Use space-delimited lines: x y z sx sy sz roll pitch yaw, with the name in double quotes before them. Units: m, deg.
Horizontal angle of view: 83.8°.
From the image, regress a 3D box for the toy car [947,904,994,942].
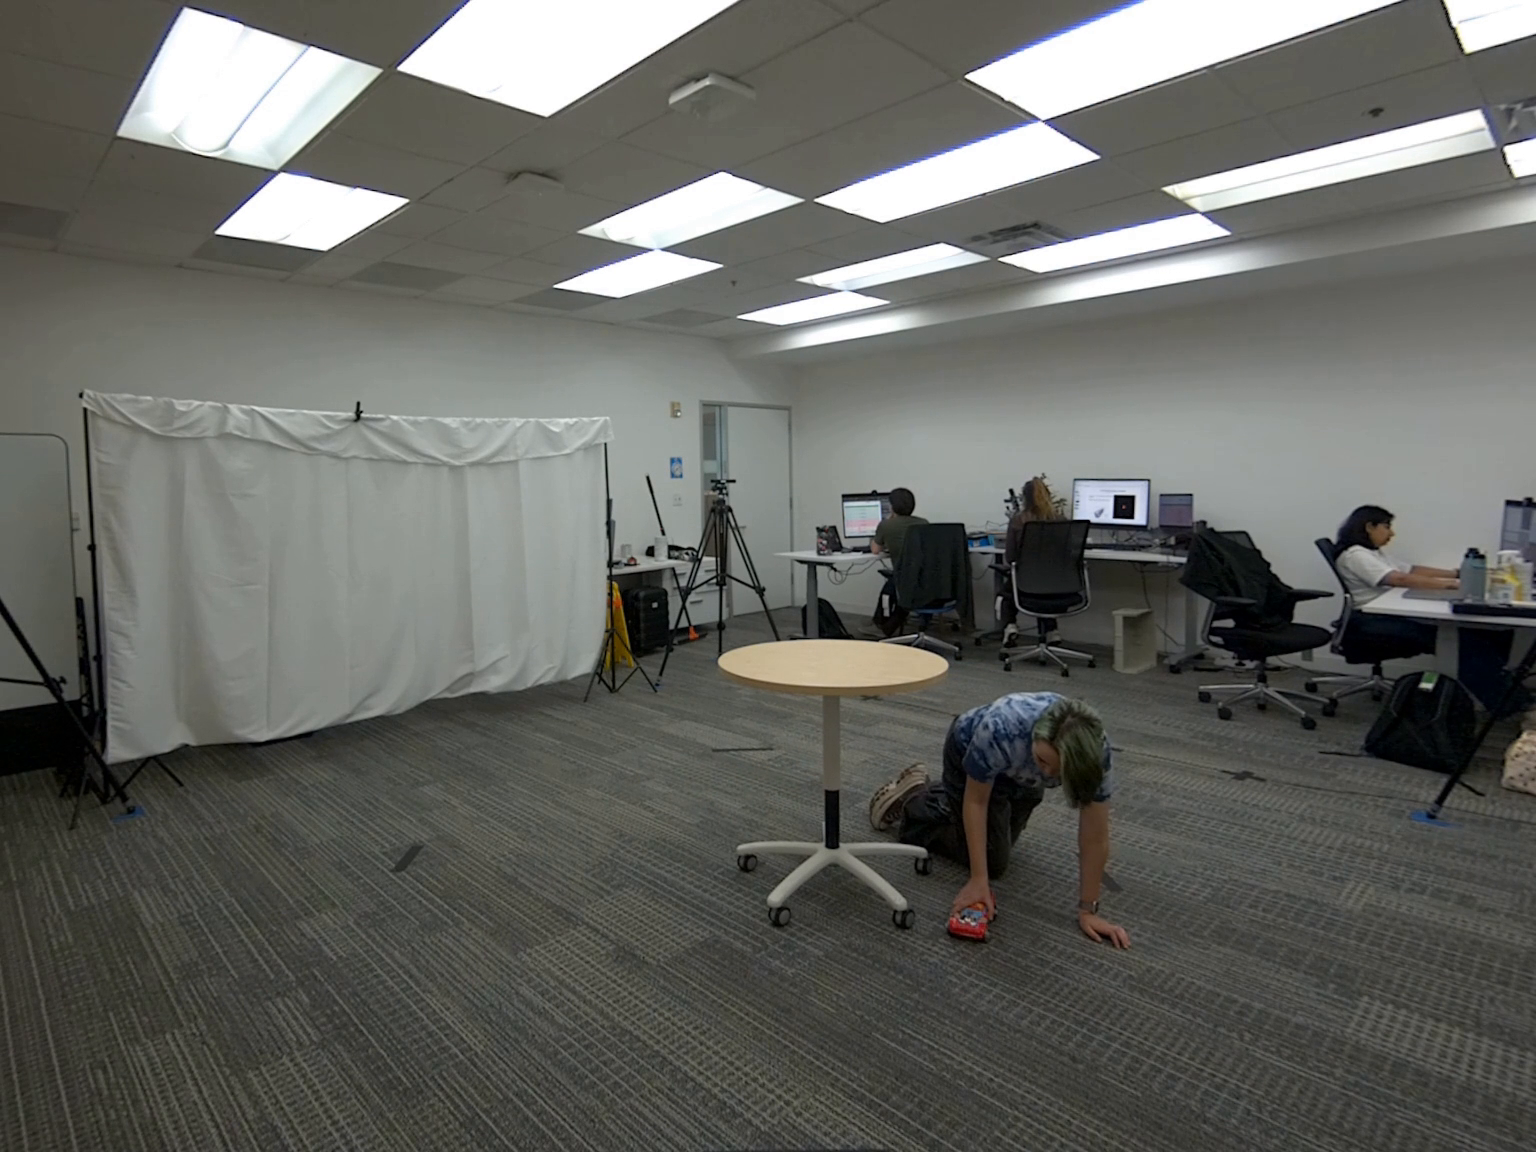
"toy car" 0.648 1.058 2.657 0.133 0.082 0.252 3 17 25
